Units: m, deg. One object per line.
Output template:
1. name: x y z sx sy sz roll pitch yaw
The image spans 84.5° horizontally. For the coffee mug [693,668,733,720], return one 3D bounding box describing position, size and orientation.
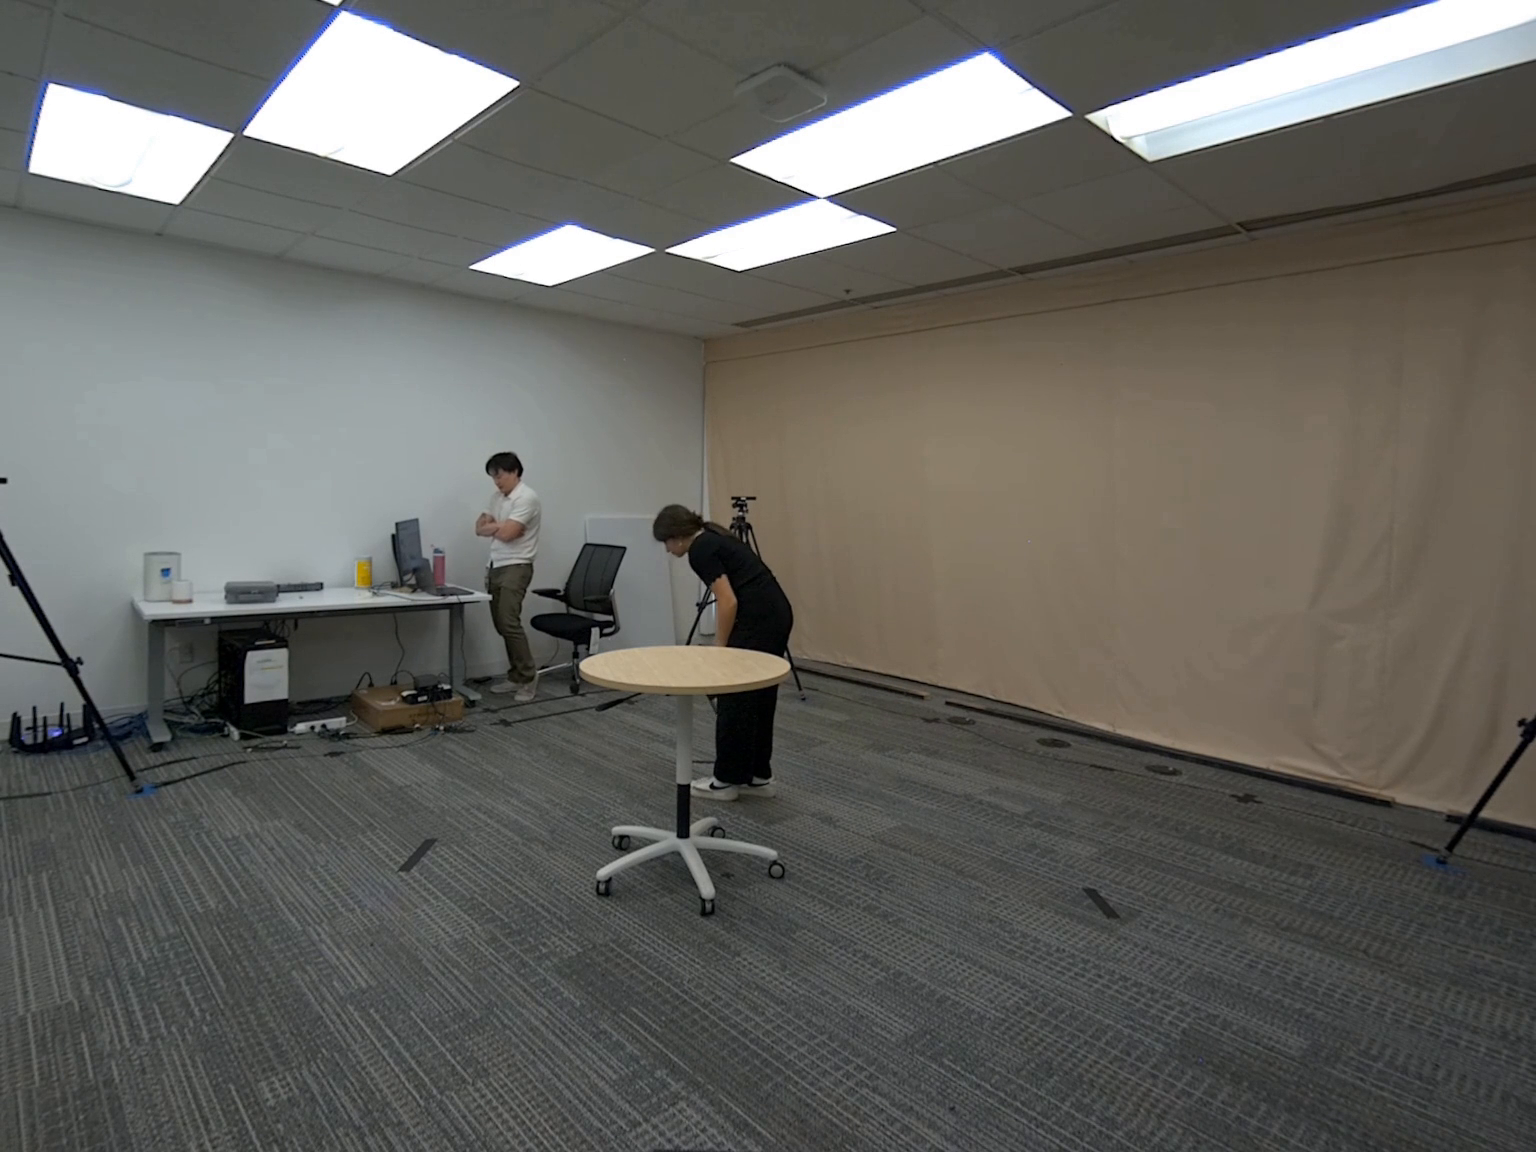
1. coffee mug: -0.257 0.572 4.131 0.086 0.205 0.123 -17 -12 -47
